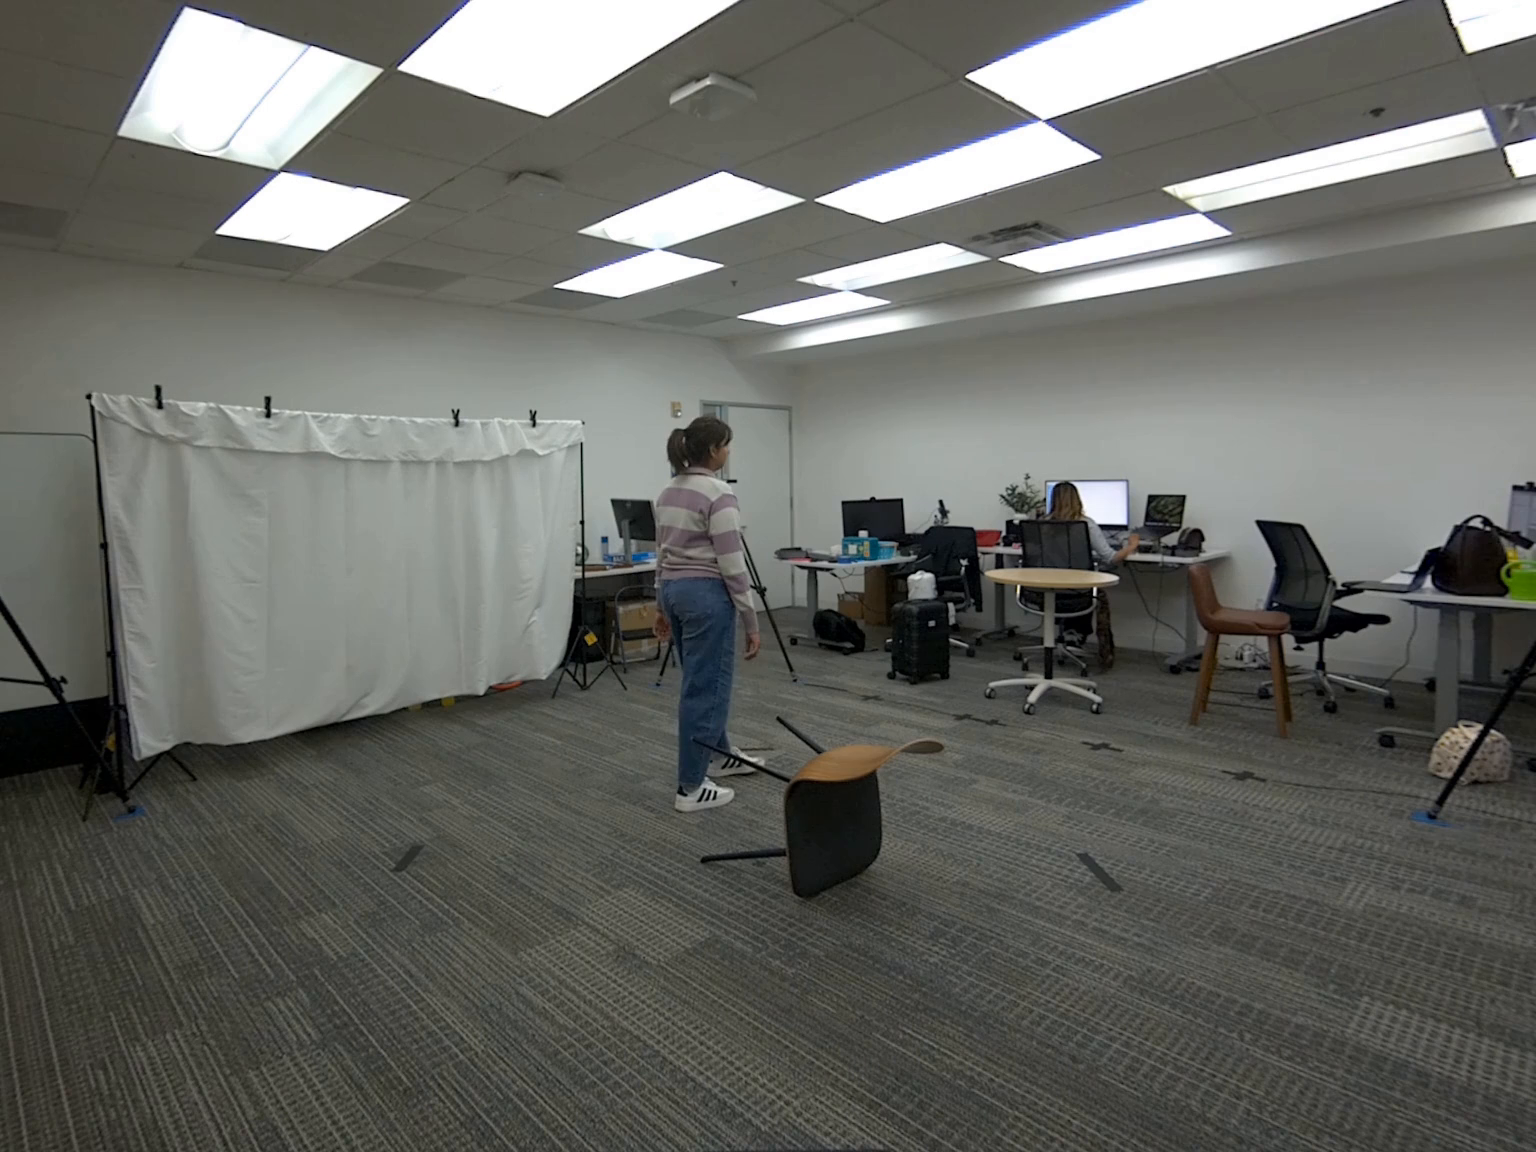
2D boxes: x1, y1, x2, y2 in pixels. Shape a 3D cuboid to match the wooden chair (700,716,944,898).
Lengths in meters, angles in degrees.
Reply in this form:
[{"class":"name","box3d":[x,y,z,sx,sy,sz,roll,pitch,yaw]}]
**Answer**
[{"class":"wooden chair","box3d":[0.197,0.806,2.951,0.465,0.525,0.899,-4,-3,-42]}]
